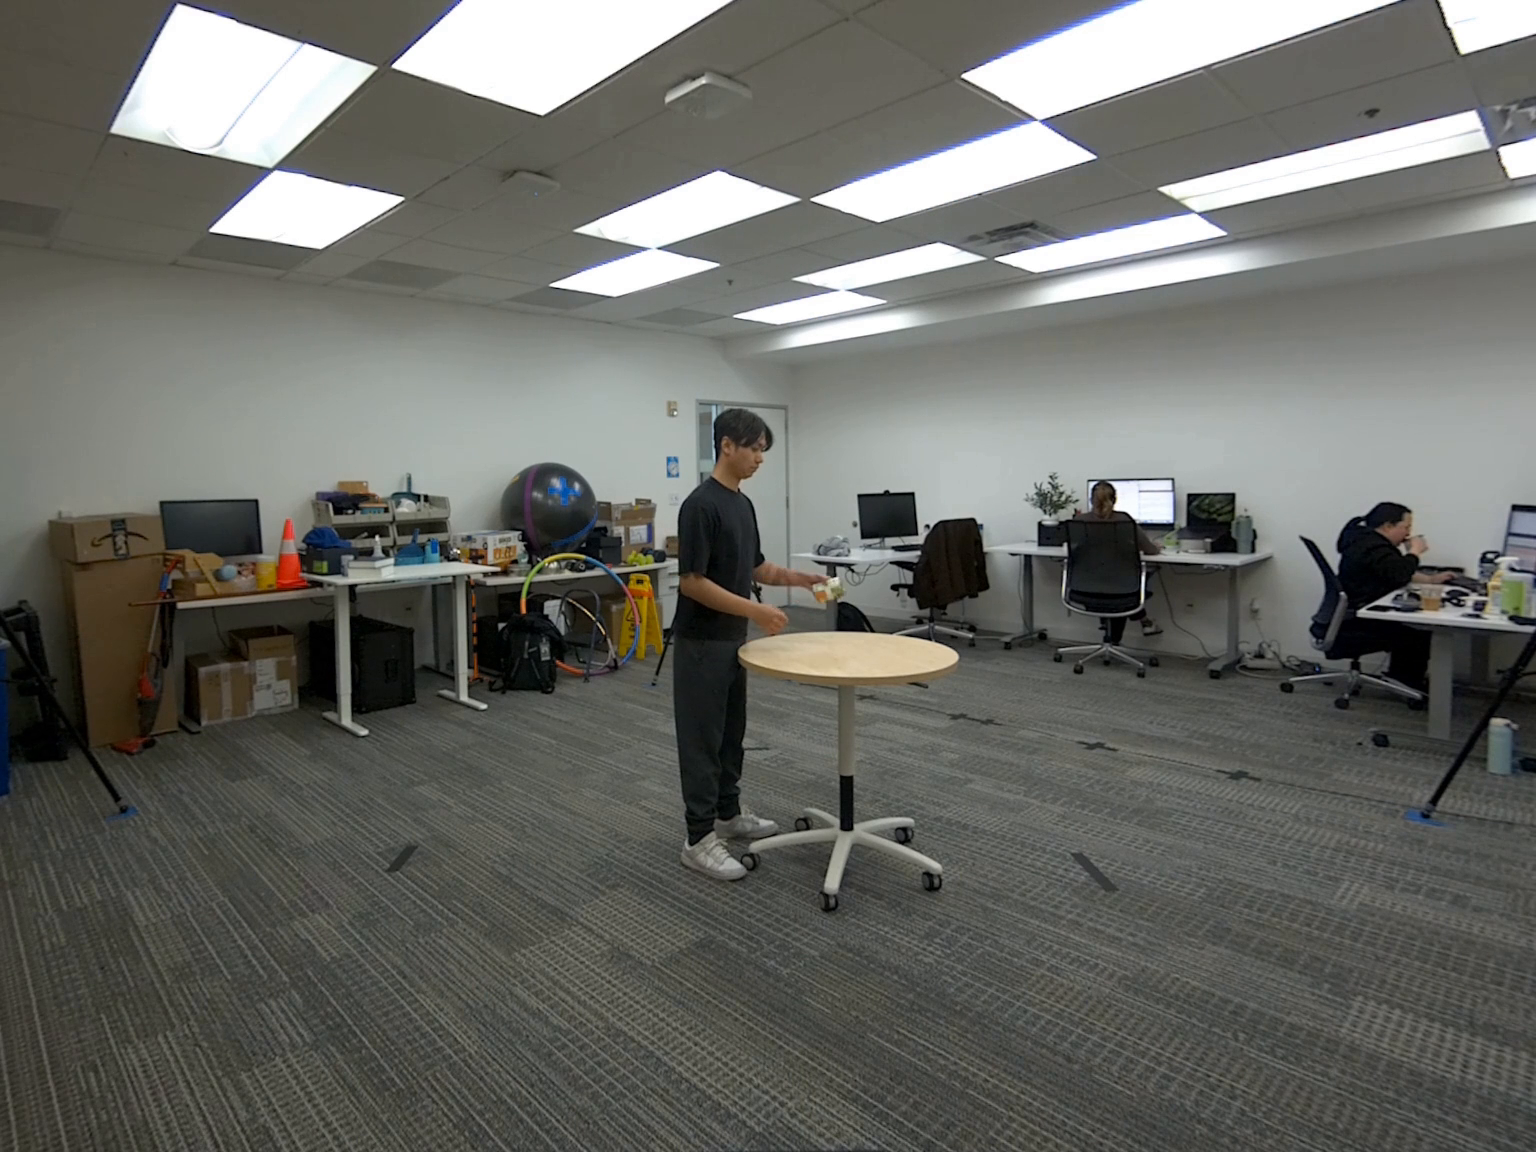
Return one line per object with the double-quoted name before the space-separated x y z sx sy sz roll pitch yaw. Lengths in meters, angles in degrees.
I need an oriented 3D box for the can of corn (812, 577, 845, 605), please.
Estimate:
"can of corn" 0.222 0.063 3.241 0.112 0.074 0.074 -13 3 8
